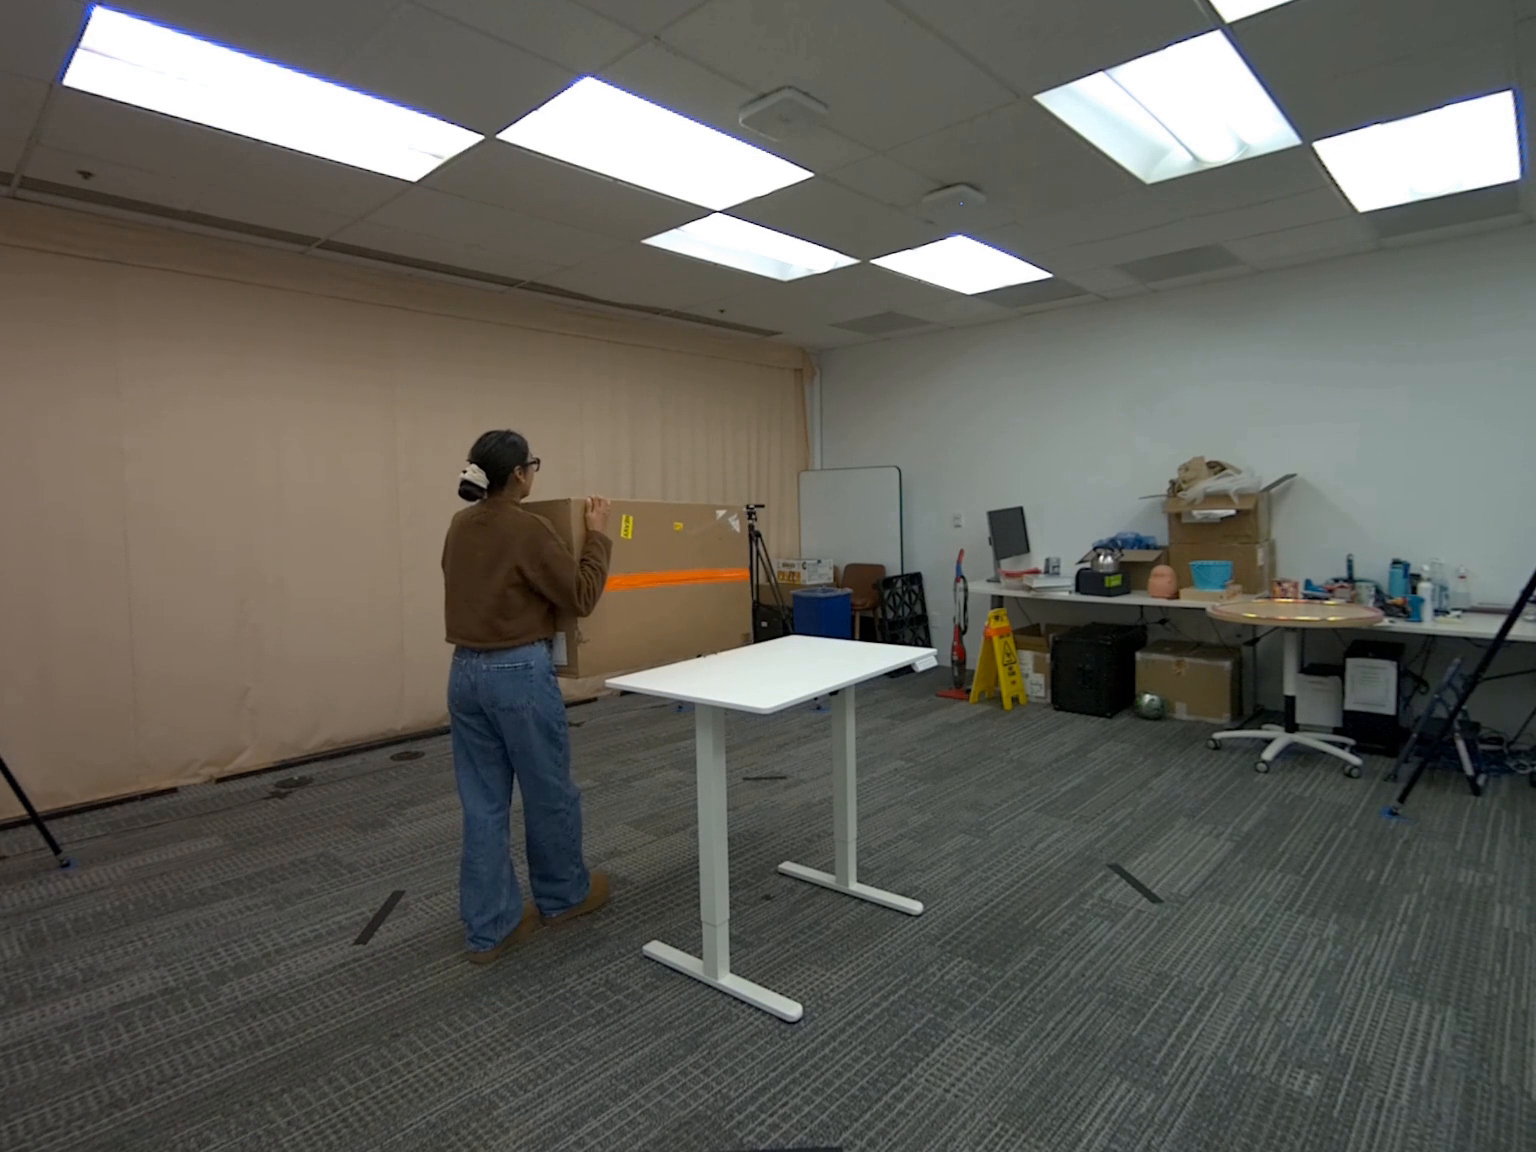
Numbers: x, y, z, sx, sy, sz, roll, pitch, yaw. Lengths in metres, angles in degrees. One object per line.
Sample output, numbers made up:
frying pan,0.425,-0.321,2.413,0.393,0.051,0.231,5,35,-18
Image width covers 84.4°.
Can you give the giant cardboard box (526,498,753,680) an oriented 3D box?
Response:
giant cardboard box,-0.506,0.022,3.185,0.439,0.577,0.996,-3,1,33
